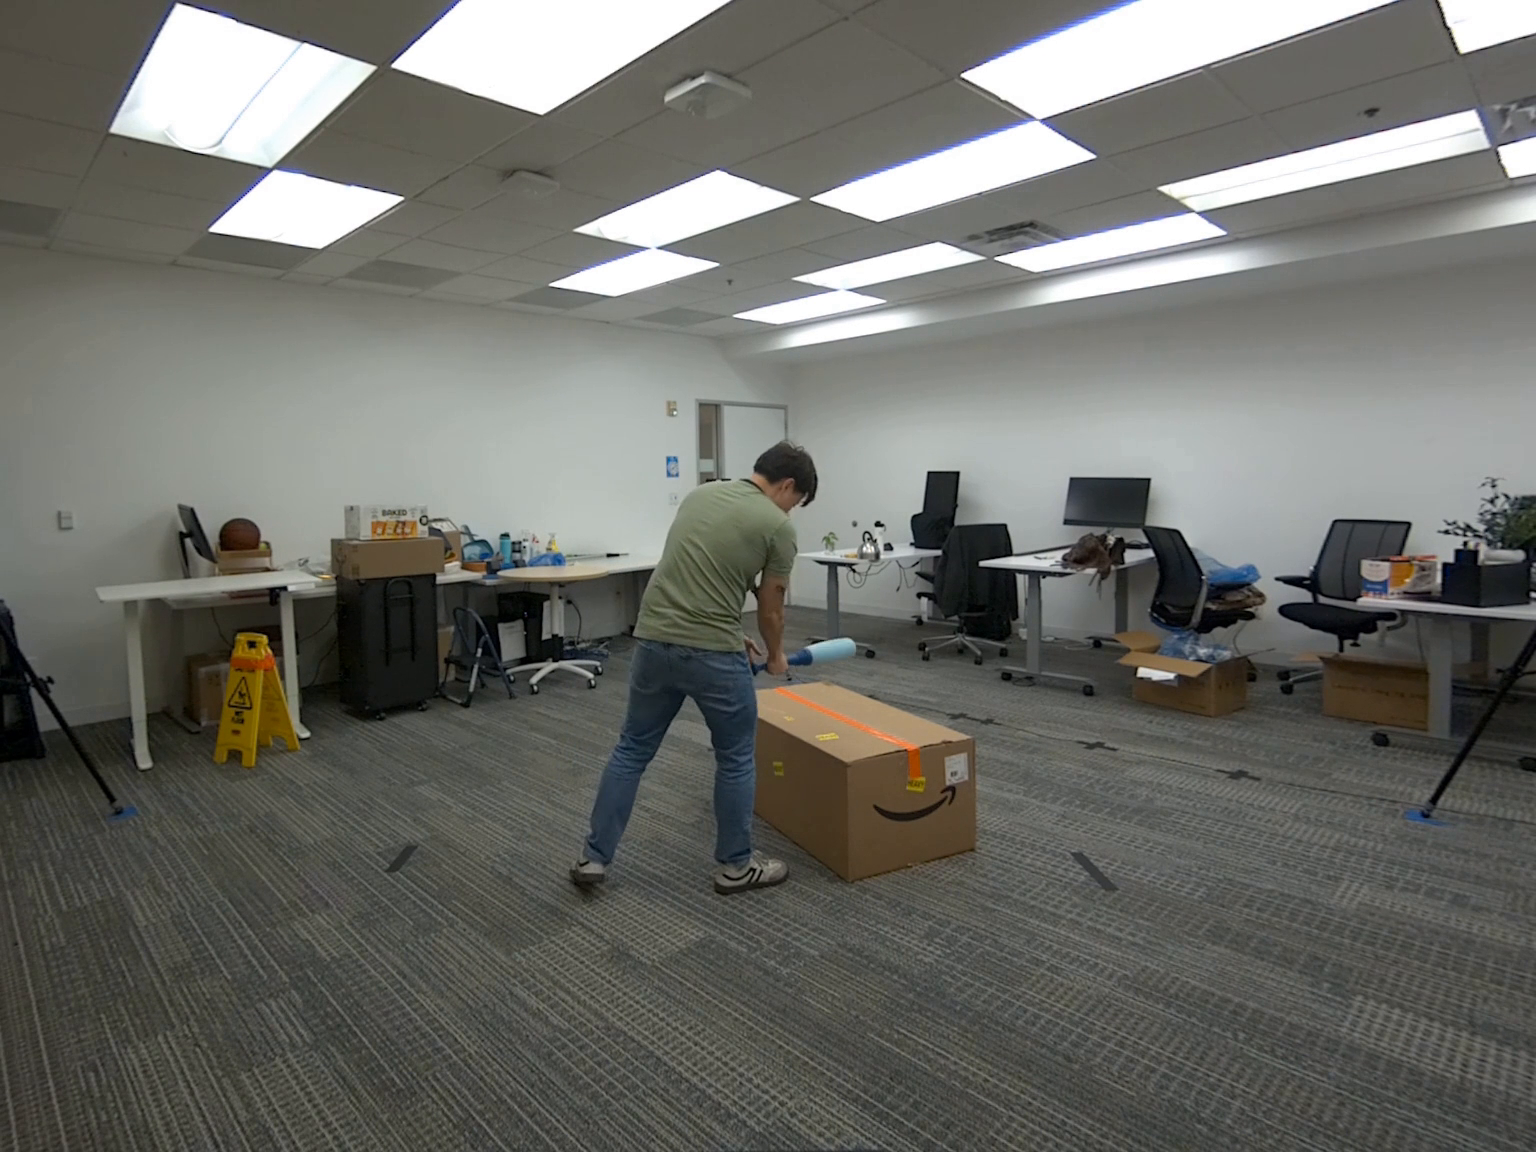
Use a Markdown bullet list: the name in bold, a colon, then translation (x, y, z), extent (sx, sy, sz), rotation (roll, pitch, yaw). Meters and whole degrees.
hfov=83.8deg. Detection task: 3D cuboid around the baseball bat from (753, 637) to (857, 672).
- **baseball bat**: translation (0.127, 0.319, 3.196), extent (0.529, 0.089, 0.092), rotation (-6, 7, -41)
